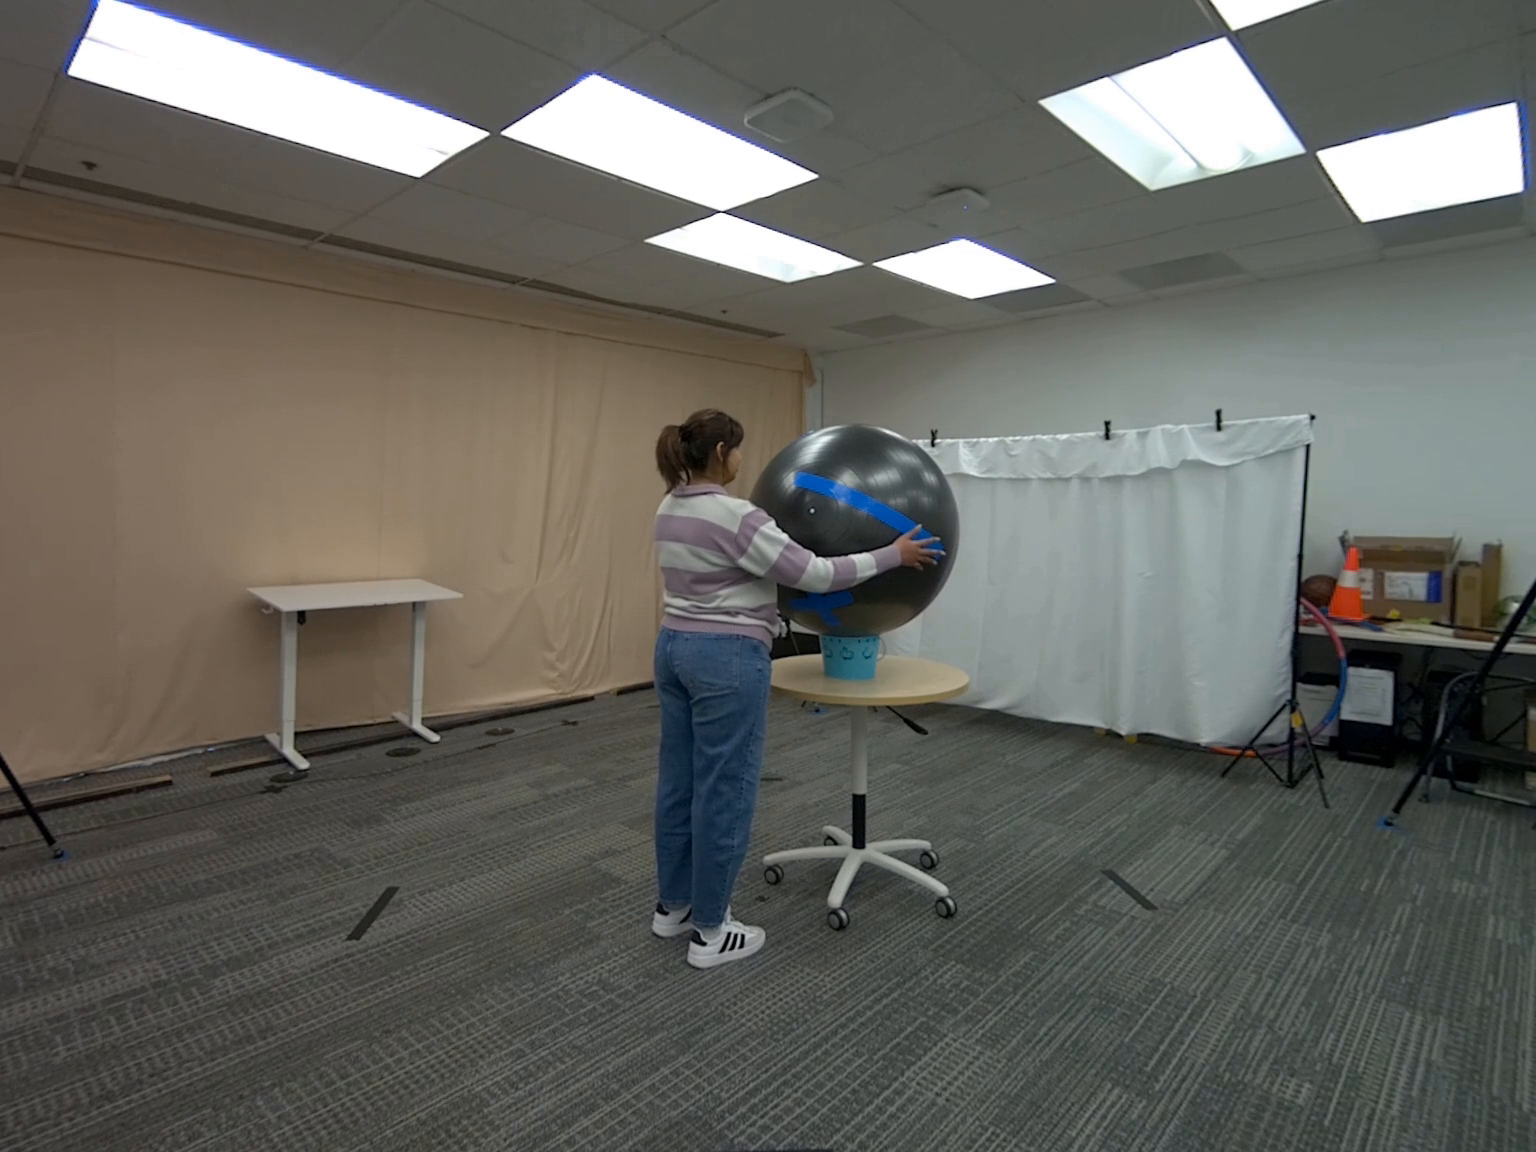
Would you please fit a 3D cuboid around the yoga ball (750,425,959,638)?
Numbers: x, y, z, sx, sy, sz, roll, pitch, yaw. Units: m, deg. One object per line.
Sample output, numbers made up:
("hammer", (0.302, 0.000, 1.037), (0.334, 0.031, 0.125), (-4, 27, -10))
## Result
("yoga ball", (0.298, -0.155, 3.019), (0.757, 0.756, 0.760), (0, 4, -2))
